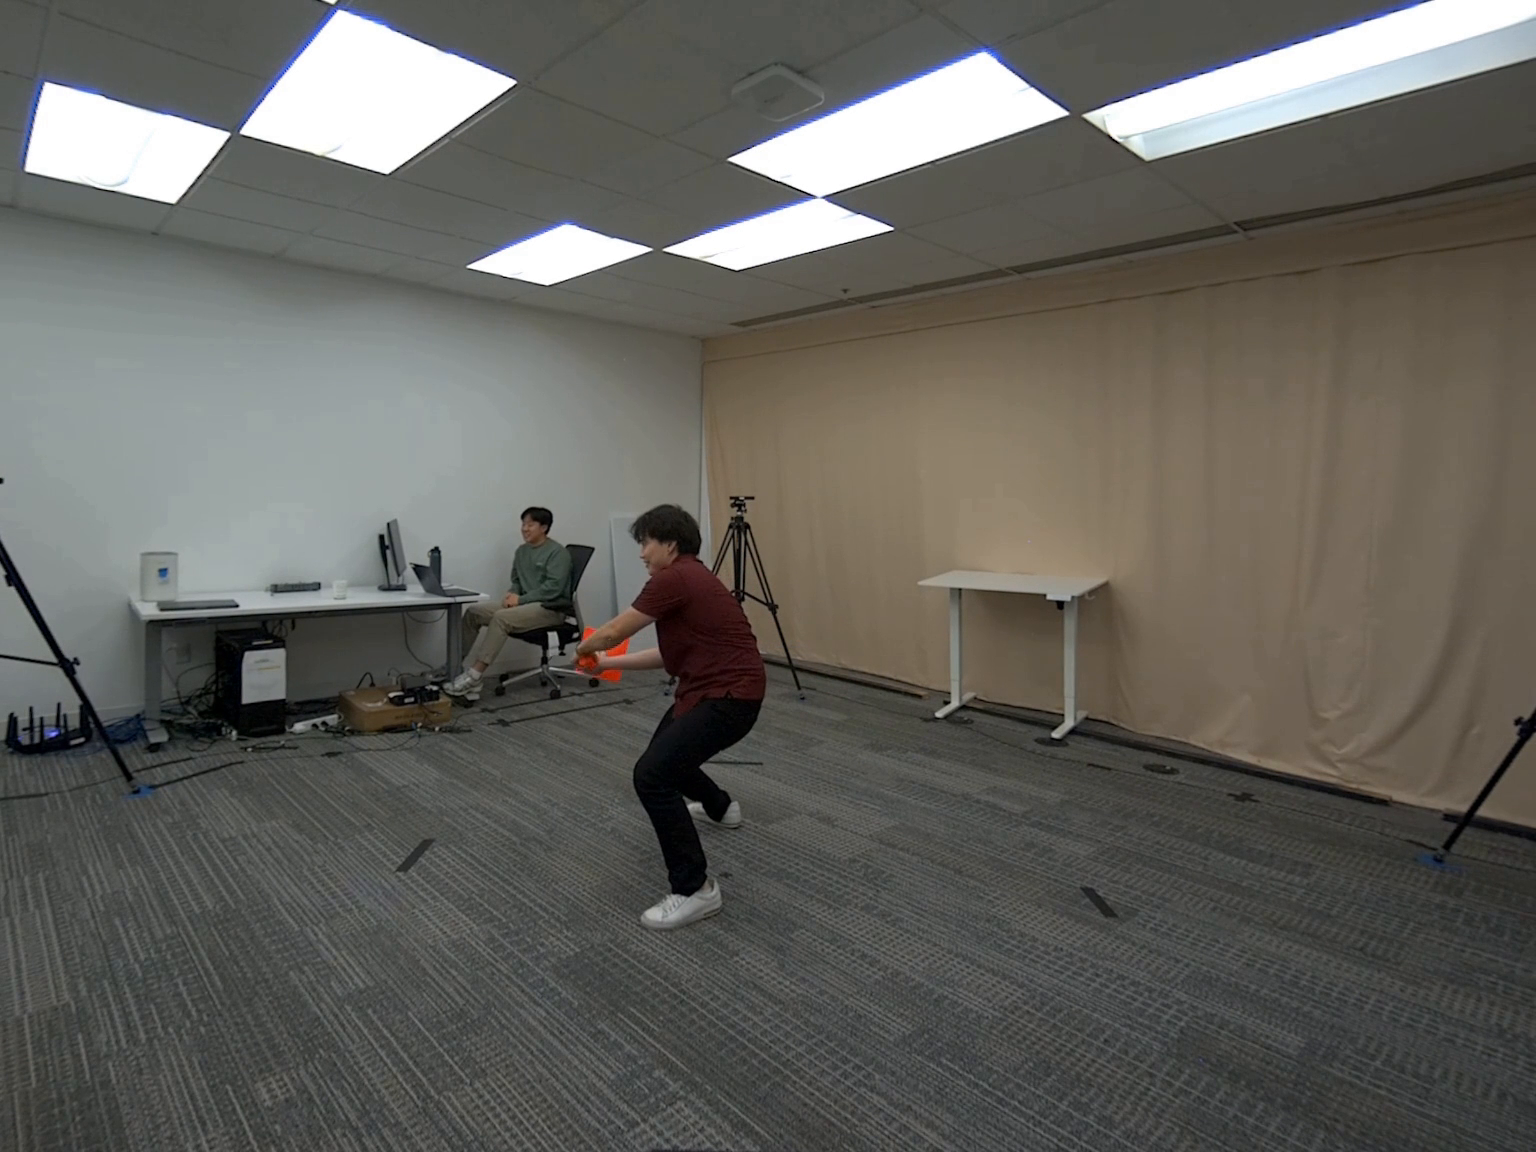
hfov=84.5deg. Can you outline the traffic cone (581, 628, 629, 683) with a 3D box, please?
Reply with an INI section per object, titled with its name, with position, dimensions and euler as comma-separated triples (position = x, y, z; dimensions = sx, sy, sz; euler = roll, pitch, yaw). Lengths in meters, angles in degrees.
[traffic cone]
position = -0.718, 0.338, 3.422
dimensions = 0.204, 0.205, 0.382
euler = 16, 0, 1
